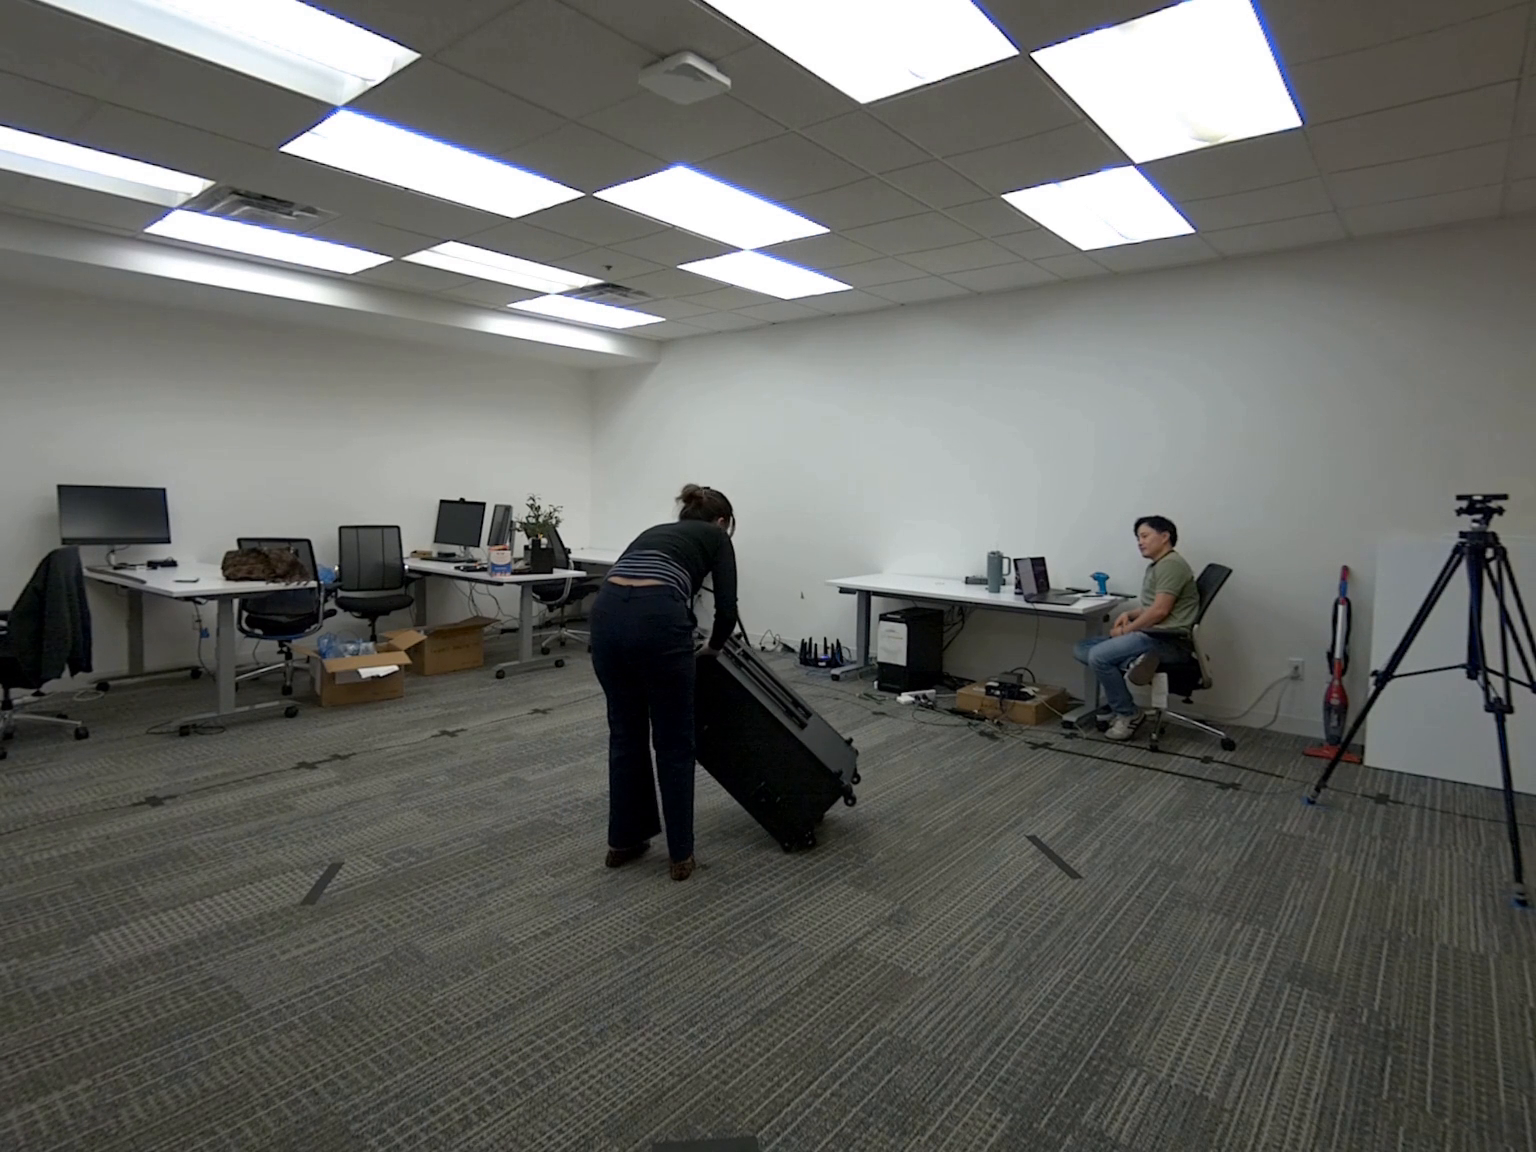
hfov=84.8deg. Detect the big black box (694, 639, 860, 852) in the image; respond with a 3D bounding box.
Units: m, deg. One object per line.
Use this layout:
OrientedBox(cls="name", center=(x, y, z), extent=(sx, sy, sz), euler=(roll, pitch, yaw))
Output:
OrientedBox(cls="big black box", center=(-0.027, 0.645, 3.491), extent=(0.871, 0.396, 0.515), euler=(44, 11, 7))
